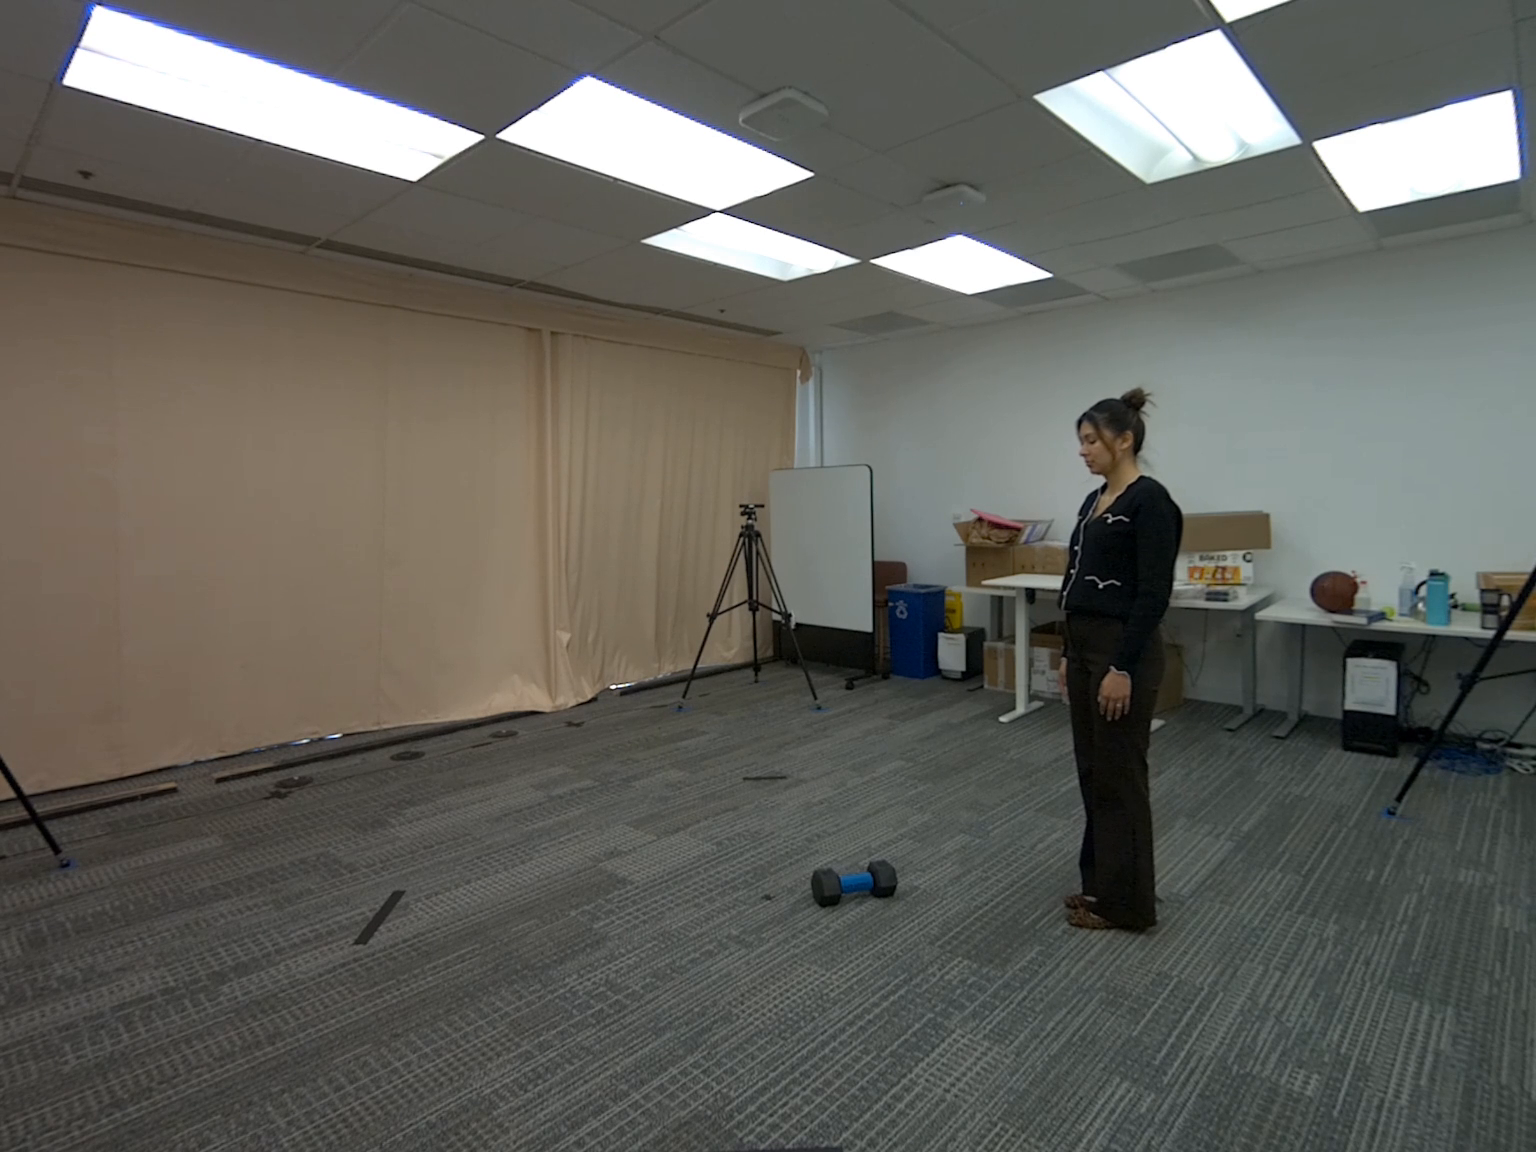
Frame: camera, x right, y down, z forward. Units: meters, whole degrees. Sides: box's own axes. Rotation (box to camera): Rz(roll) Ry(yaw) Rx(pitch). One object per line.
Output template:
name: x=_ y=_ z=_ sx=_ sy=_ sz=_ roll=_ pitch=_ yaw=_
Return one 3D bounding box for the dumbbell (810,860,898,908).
dumbbell: x=0.307 y=1.085 z=2.962 sx=0.289 sy=0.125 sz=0.108 roll=-2 pitch=-25 yaw=-15
